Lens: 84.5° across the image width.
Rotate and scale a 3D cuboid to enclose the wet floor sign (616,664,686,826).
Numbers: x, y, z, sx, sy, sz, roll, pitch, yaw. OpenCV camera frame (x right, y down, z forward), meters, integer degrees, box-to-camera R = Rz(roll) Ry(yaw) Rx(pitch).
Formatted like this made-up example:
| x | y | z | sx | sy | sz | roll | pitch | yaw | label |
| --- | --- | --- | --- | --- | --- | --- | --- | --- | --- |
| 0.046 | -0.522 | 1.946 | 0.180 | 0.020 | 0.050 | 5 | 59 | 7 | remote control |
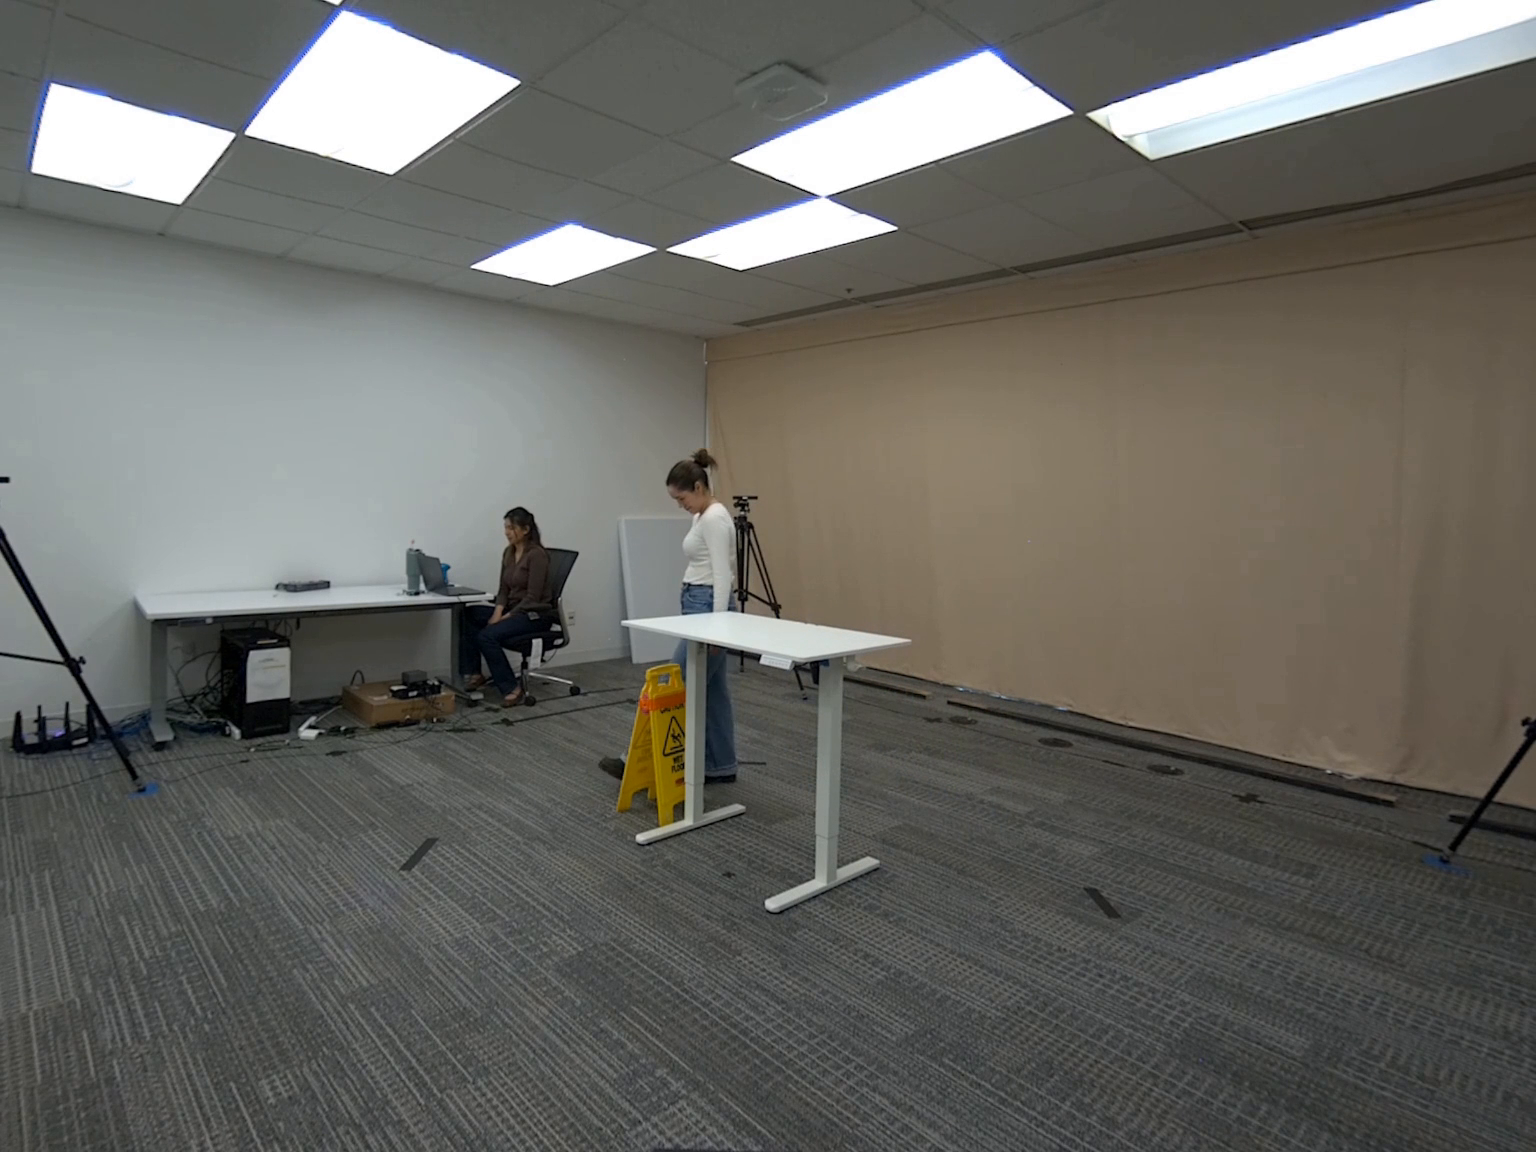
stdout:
| x | y | z | sx | sy | sz | roll | pitch | yaw | label |
| --- | --- | --- | --- | --- | --- | --- | --- | --- | --- |
| -0.482 | 0.720 | 3.707 | 0.297 | 0.645 | 0.276 | 3 | 3 | 37 | wet floor sign |
